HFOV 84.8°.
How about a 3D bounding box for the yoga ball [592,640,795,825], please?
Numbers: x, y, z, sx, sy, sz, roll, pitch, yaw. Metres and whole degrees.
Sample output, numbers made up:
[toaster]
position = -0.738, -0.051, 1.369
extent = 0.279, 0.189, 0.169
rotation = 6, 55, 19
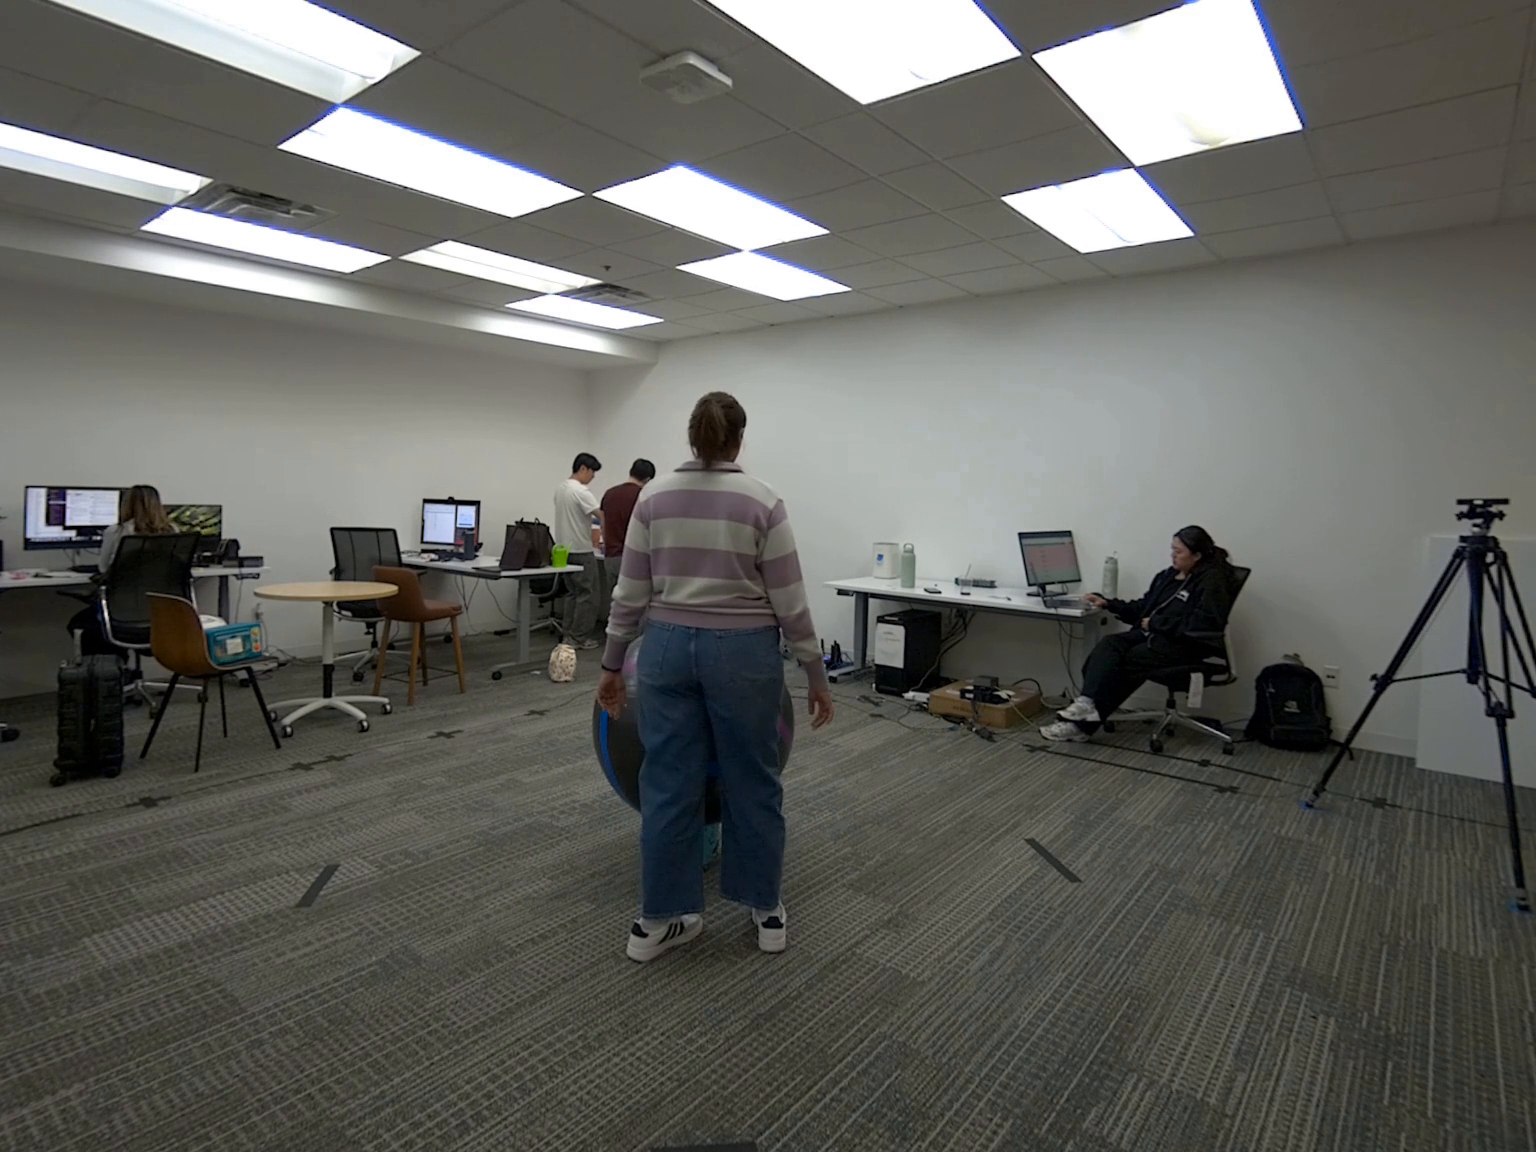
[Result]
[yoga ball]
position = -0.294, 0.539, 3.203
extent = 0.757, 0.756, 0.762
rotation = 1, 4, -2
